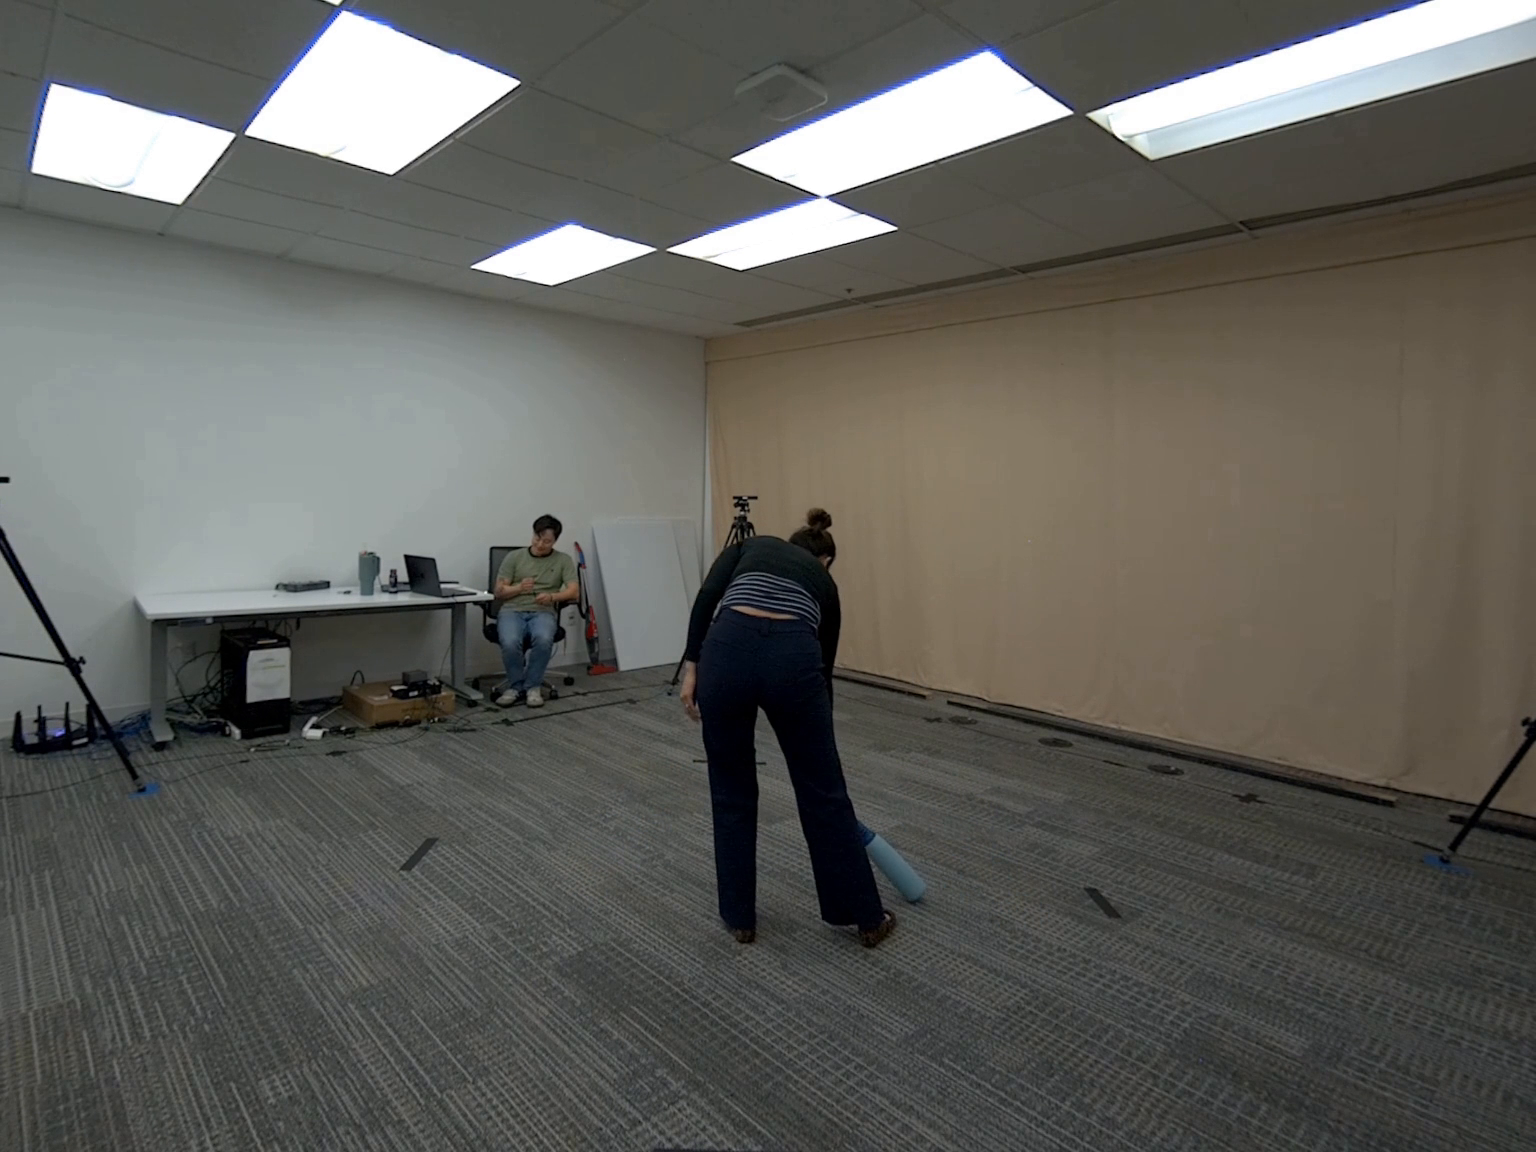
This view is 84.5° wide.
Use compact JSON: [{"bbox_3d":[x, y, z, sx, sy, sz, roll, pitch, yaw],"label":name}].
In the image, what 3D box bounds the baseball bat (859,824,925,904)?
[{"bbox_3d":[0.336,0.919,2.966,0.548,0.089,0.088,46,12,8],"label":"baseball bat"}]
